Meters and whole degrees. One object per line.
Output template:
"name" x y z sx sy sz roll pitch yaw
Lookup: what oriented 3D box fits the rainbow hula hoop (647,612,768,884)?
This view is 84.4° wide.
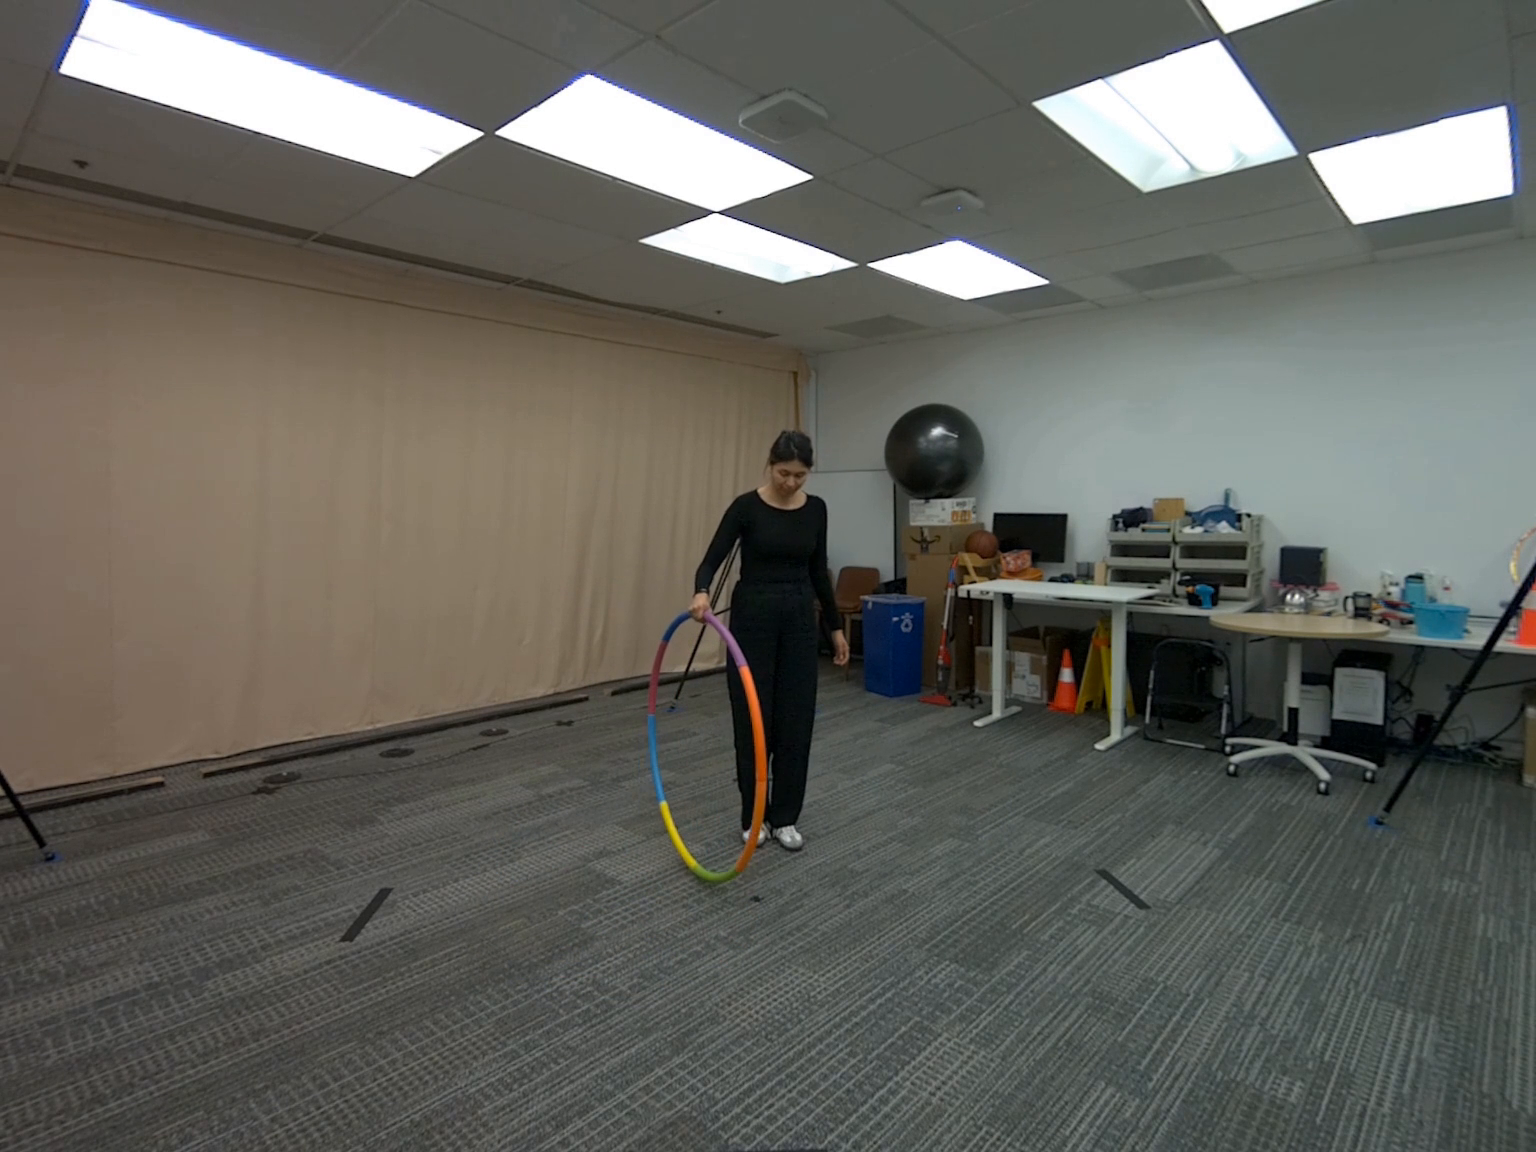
"rainbow hula hoop" -0.251 0.622 3.142 0.034 0.977 1.006 0 3 -29
